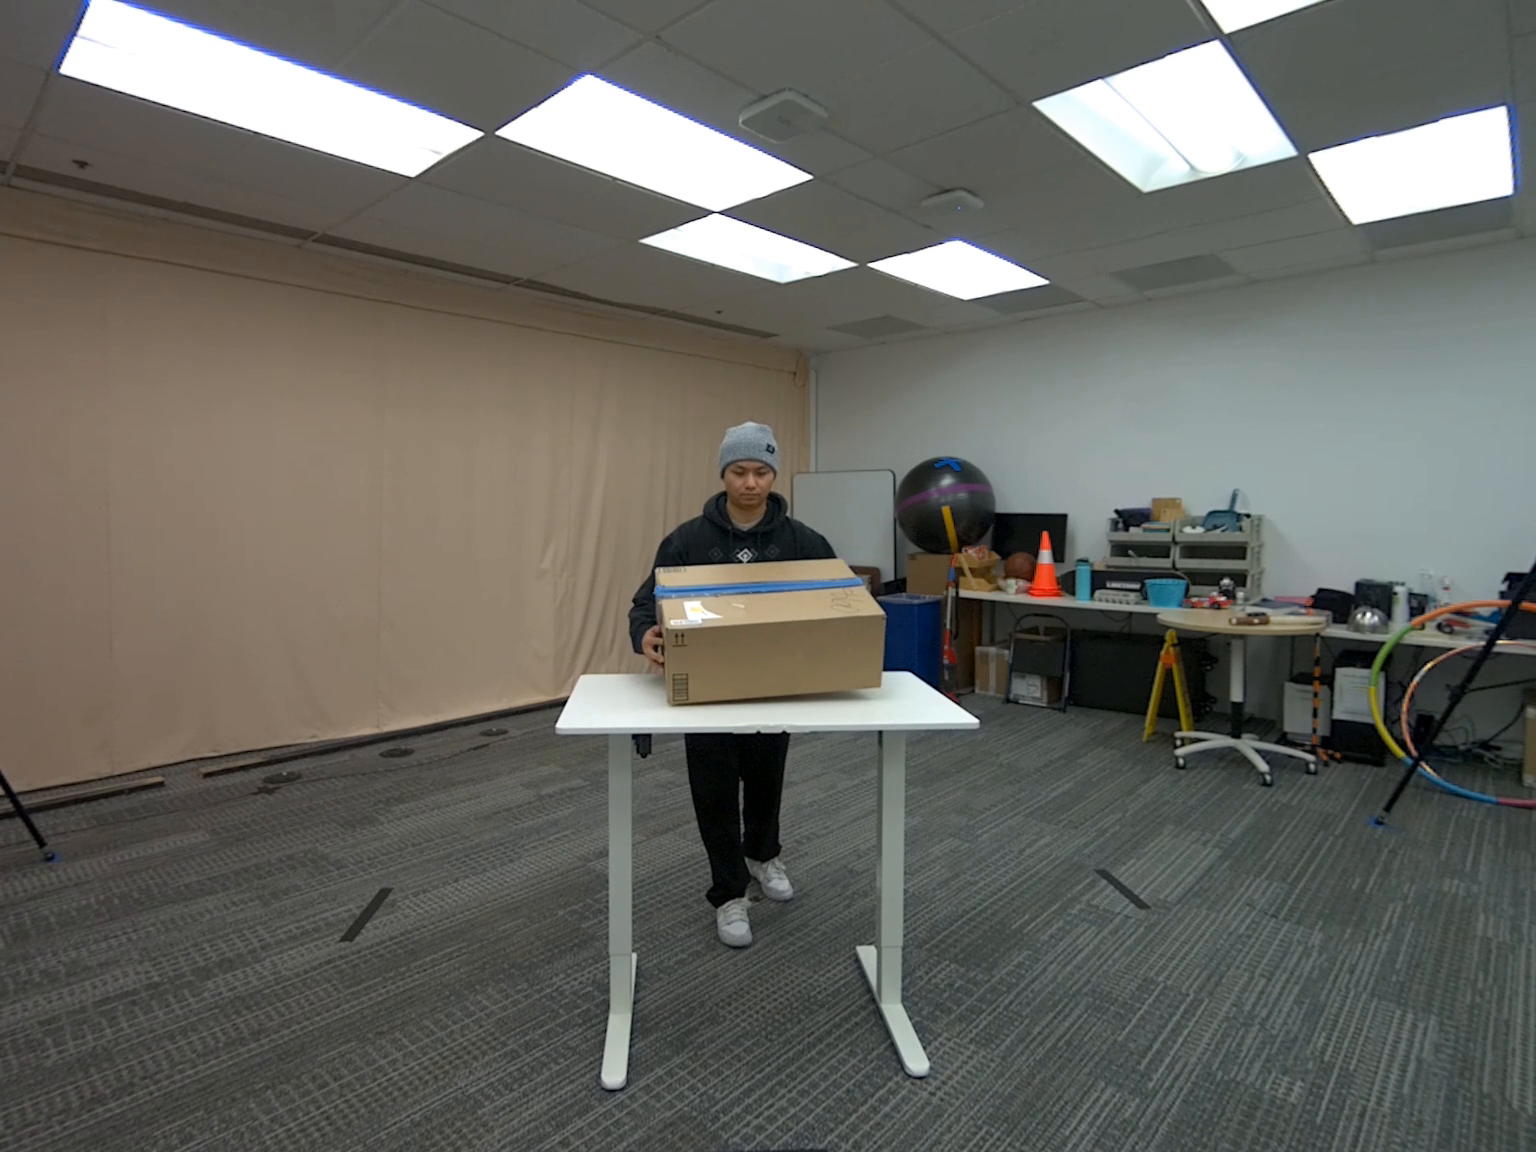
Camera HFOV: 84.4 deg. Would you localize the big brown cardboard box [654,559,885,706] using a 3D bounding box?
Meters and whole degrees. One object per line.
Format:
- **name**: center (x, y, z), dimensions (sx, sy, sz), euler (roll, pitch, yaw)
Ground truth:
- **big brown cardboard box**: center (-0.022, 0.140, 2.335), dimensions (0.584, 0.230, 0.426), euler (-4, 22, -8)
